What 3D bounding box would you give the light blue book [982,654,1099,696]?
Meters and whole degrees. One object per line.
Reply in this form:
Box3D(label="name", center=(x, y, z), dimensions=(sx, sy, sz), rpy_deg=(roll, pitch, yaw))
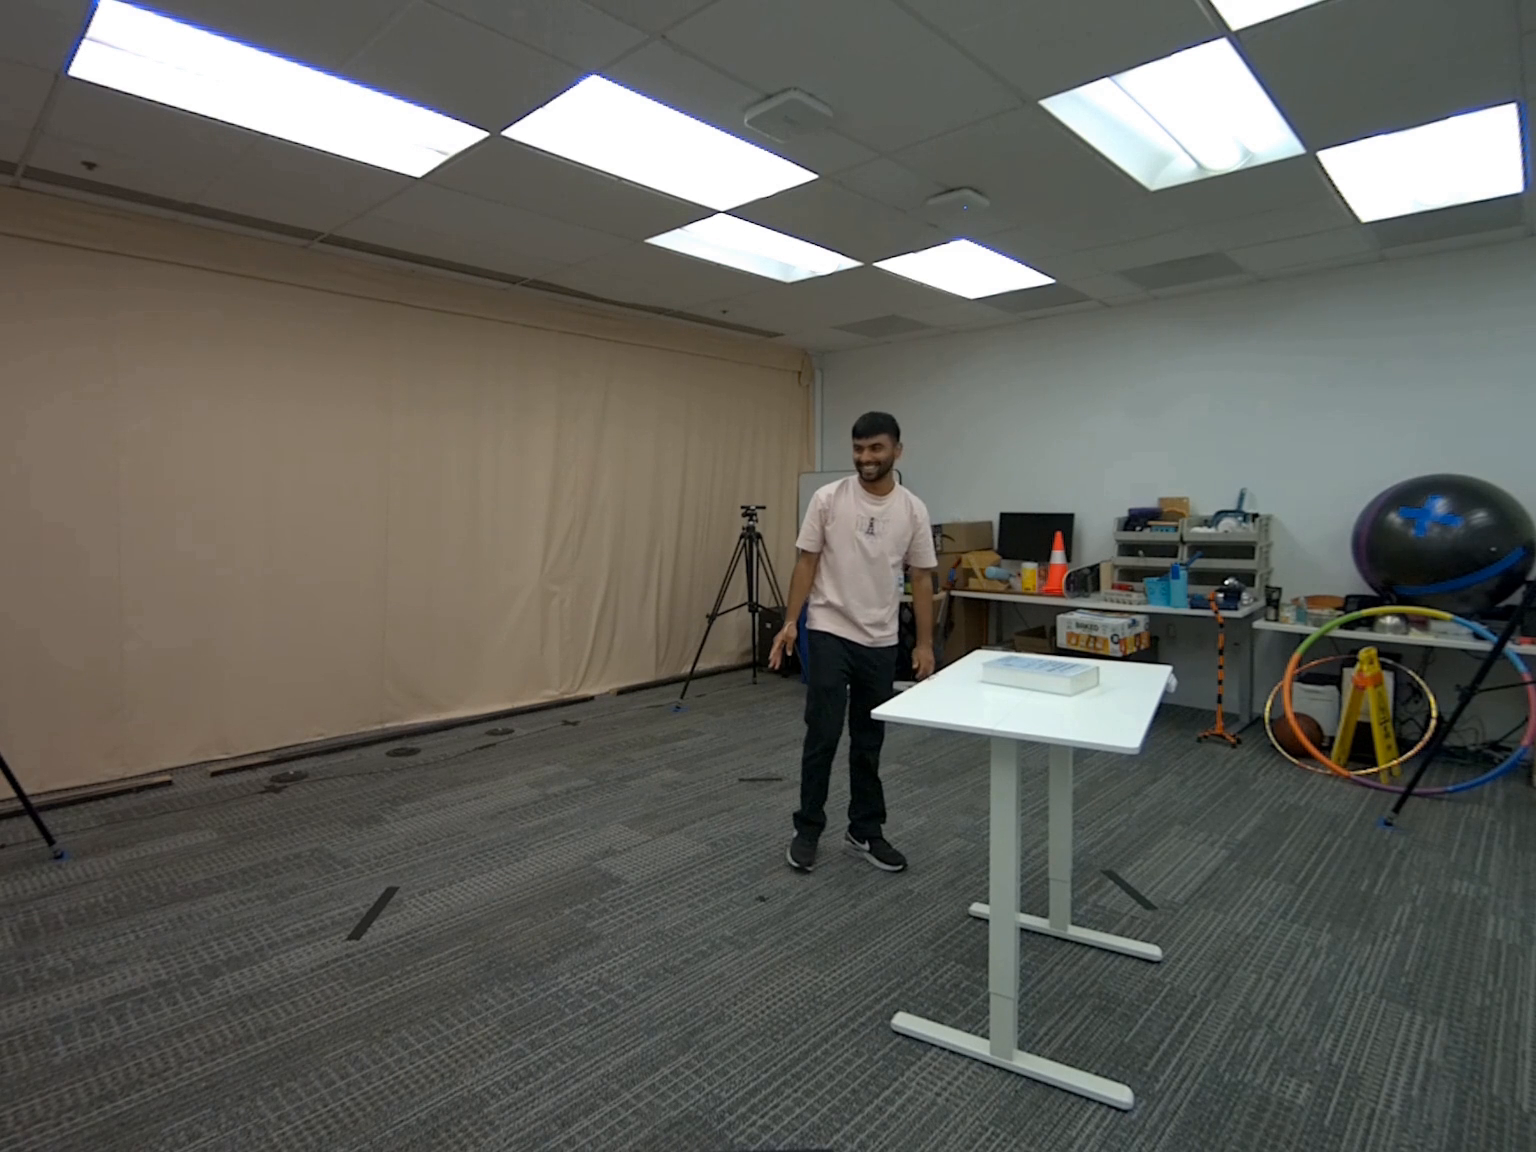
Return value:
Box3D(label="light blue book", center=(0.768, 0.277, 2.390), dimensions=(0.270, 0.059, 0.185), rpy_deg=(4, 7, 44))
